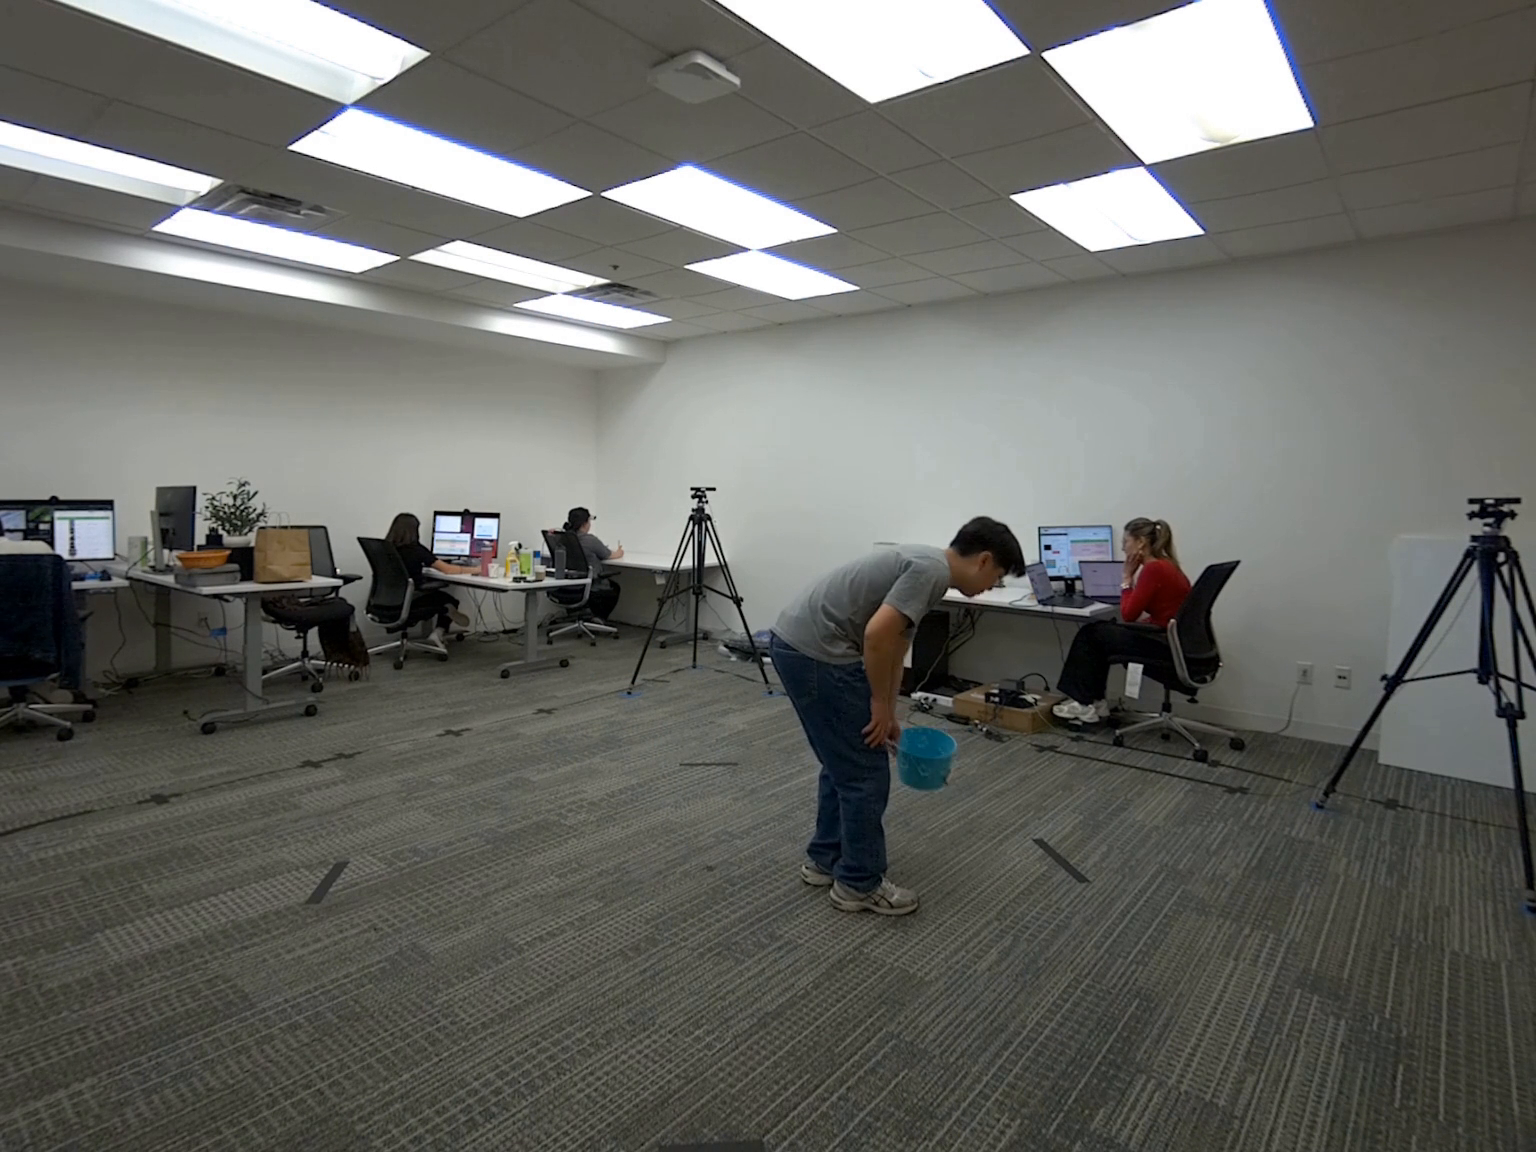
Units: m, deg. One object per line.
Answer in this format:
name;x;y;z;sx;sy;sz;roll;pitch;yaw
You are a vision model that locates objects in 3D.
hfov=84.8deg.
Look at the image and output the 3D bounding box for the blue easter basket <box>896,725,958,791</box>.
blue easter basket;0.563;0.679;3.196;0.243;0.153;0.247;0;17;-2
